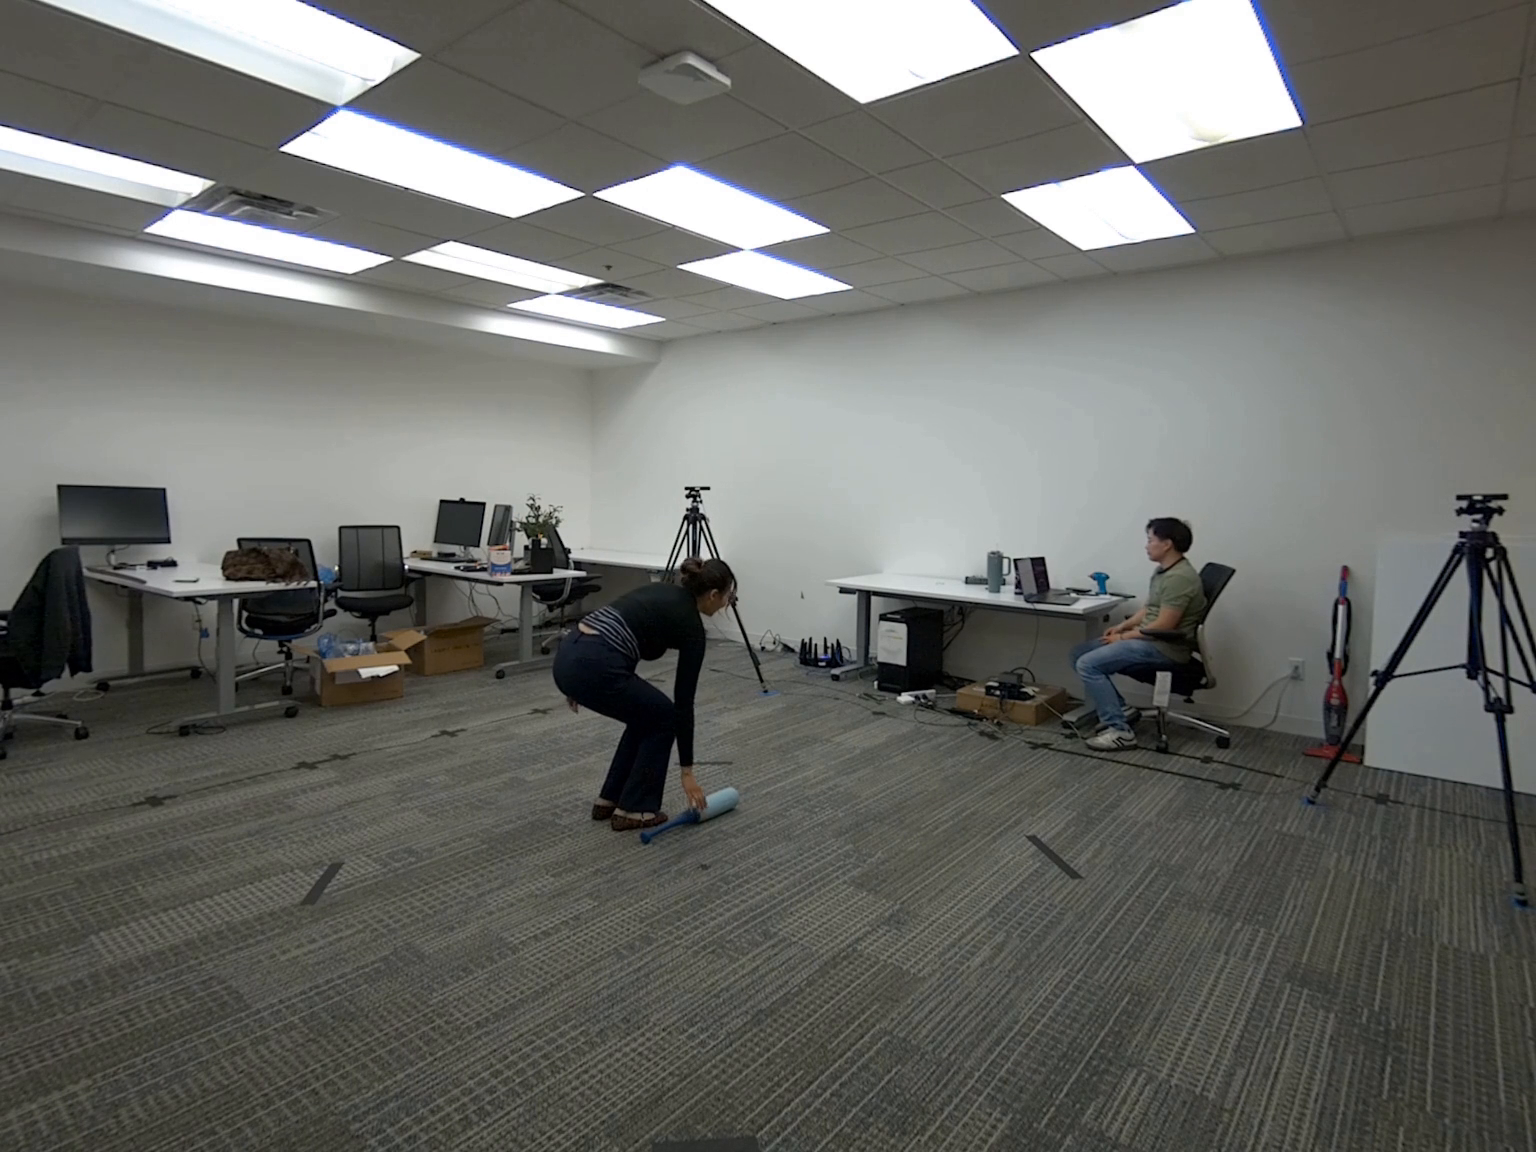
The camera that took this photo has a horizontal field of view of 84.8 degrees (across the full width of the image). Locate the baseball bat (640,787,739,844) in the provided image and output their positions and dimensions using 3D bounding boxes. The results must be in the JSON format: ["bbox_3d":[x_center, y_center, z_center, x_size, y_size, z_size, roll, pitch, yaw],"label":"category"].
[{"bbox_3d":[-0.327,0.988,3.512,0.092,0.088,0.528,4,10,41],"label":"baseball bat"}]
